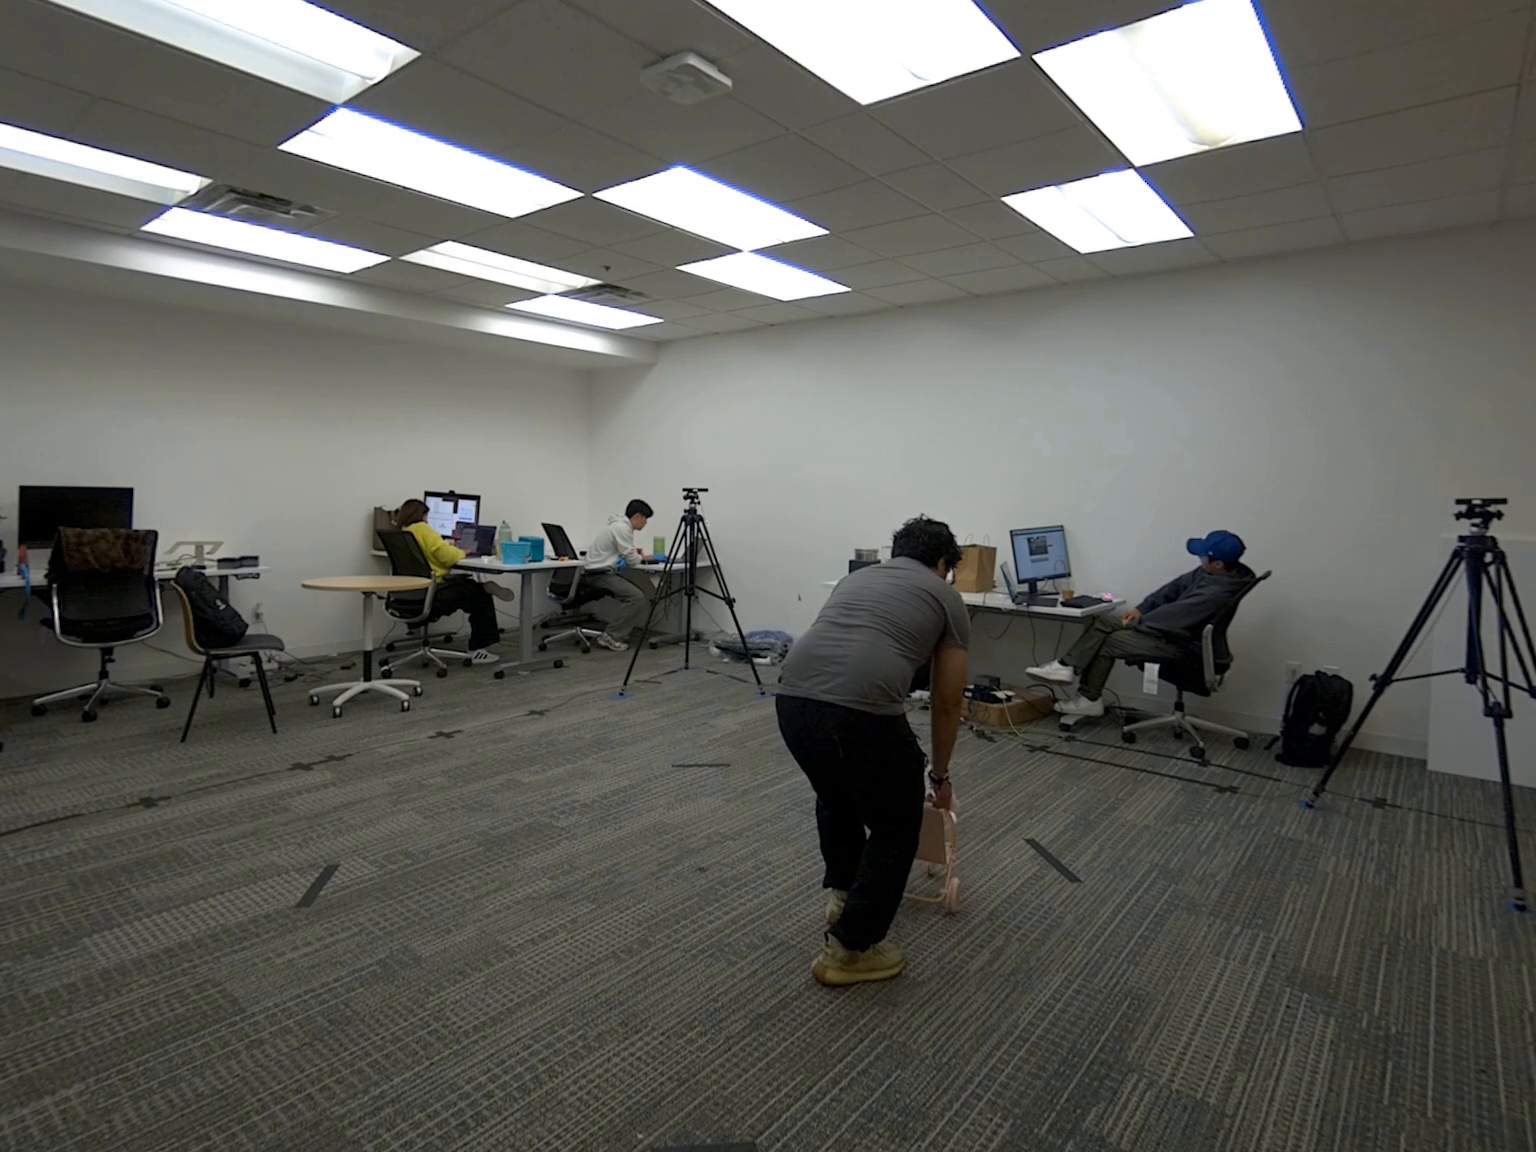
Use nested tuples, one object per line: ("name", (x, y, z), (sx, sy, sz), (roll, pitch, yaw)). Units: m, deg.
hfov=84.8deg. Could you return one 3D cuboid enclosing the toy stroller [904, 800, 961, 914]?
("toy stroller", (0.524, 0.877, 2.937), (0.289, 0.525, 0.338), (4, 21, 26))
